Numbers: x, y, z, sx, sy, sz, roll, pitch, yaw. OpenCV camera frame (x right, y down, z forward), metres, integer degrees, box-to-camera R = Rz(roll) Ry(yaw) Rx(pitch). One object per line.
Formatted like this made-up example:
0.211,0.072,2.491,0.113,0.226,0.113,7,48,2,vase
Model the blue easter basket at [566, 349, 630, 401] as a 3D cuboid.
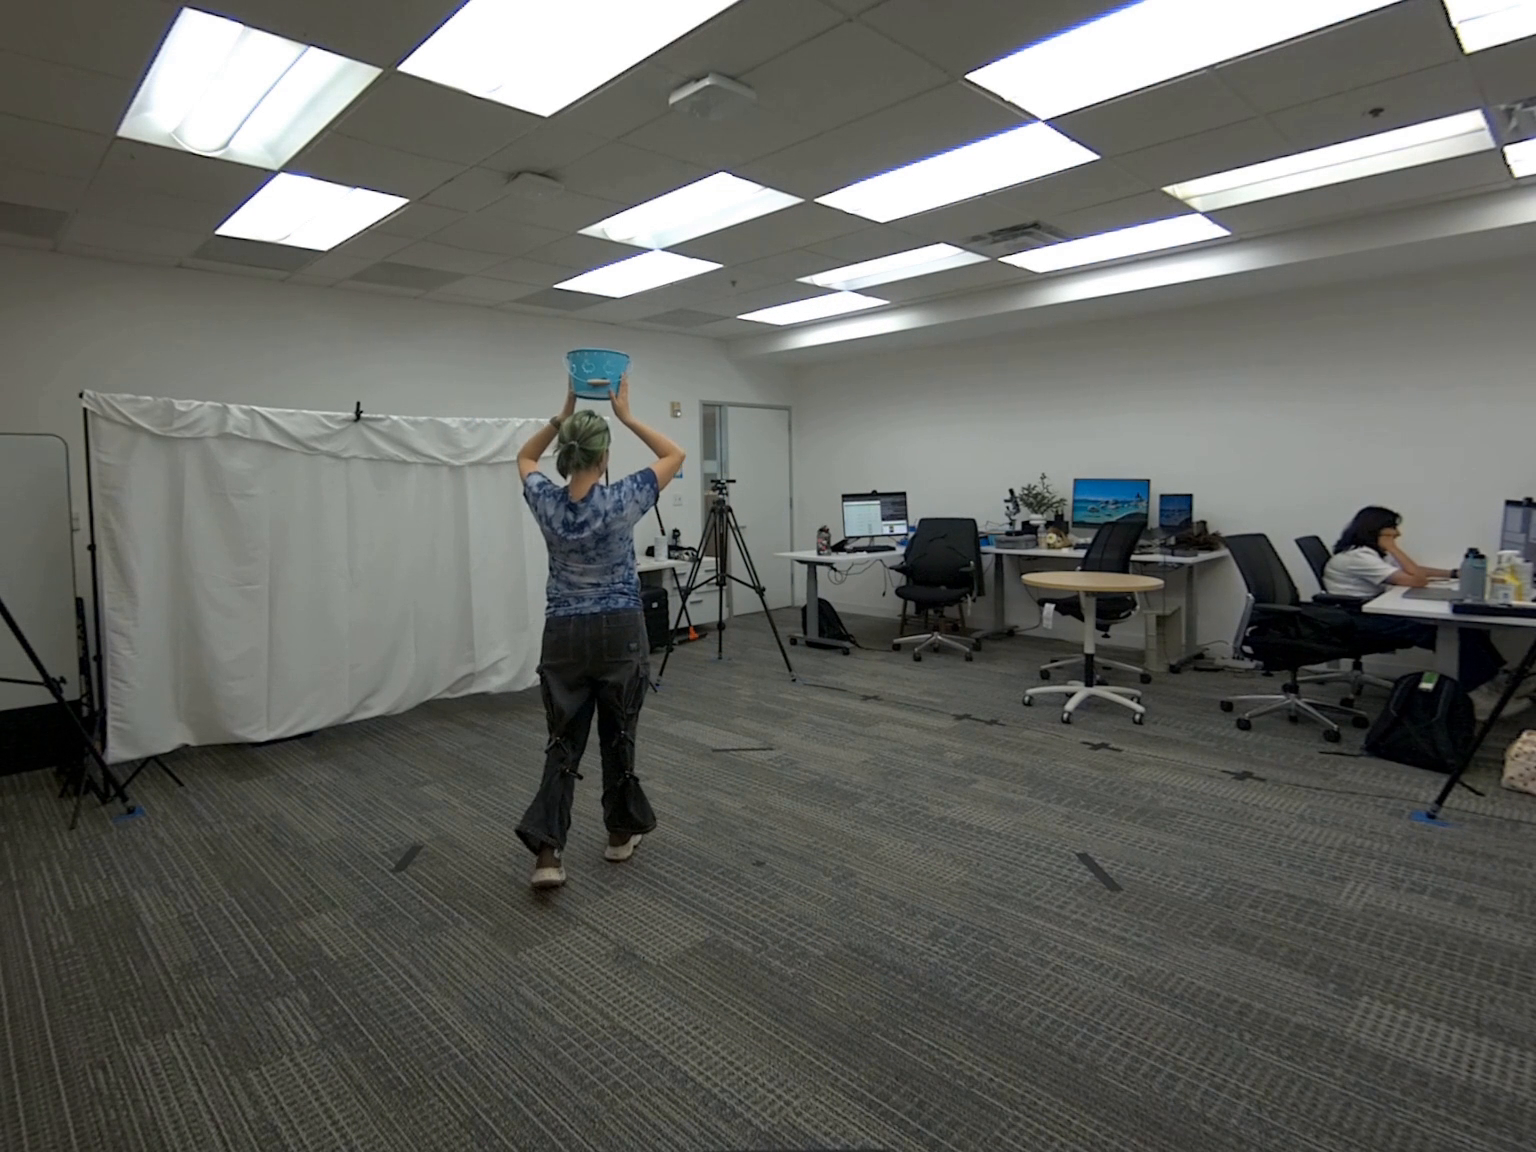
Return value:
-0.646,-0.738,3.126,0.243,0.156,0.244,2,2,-2,blue easter basket
